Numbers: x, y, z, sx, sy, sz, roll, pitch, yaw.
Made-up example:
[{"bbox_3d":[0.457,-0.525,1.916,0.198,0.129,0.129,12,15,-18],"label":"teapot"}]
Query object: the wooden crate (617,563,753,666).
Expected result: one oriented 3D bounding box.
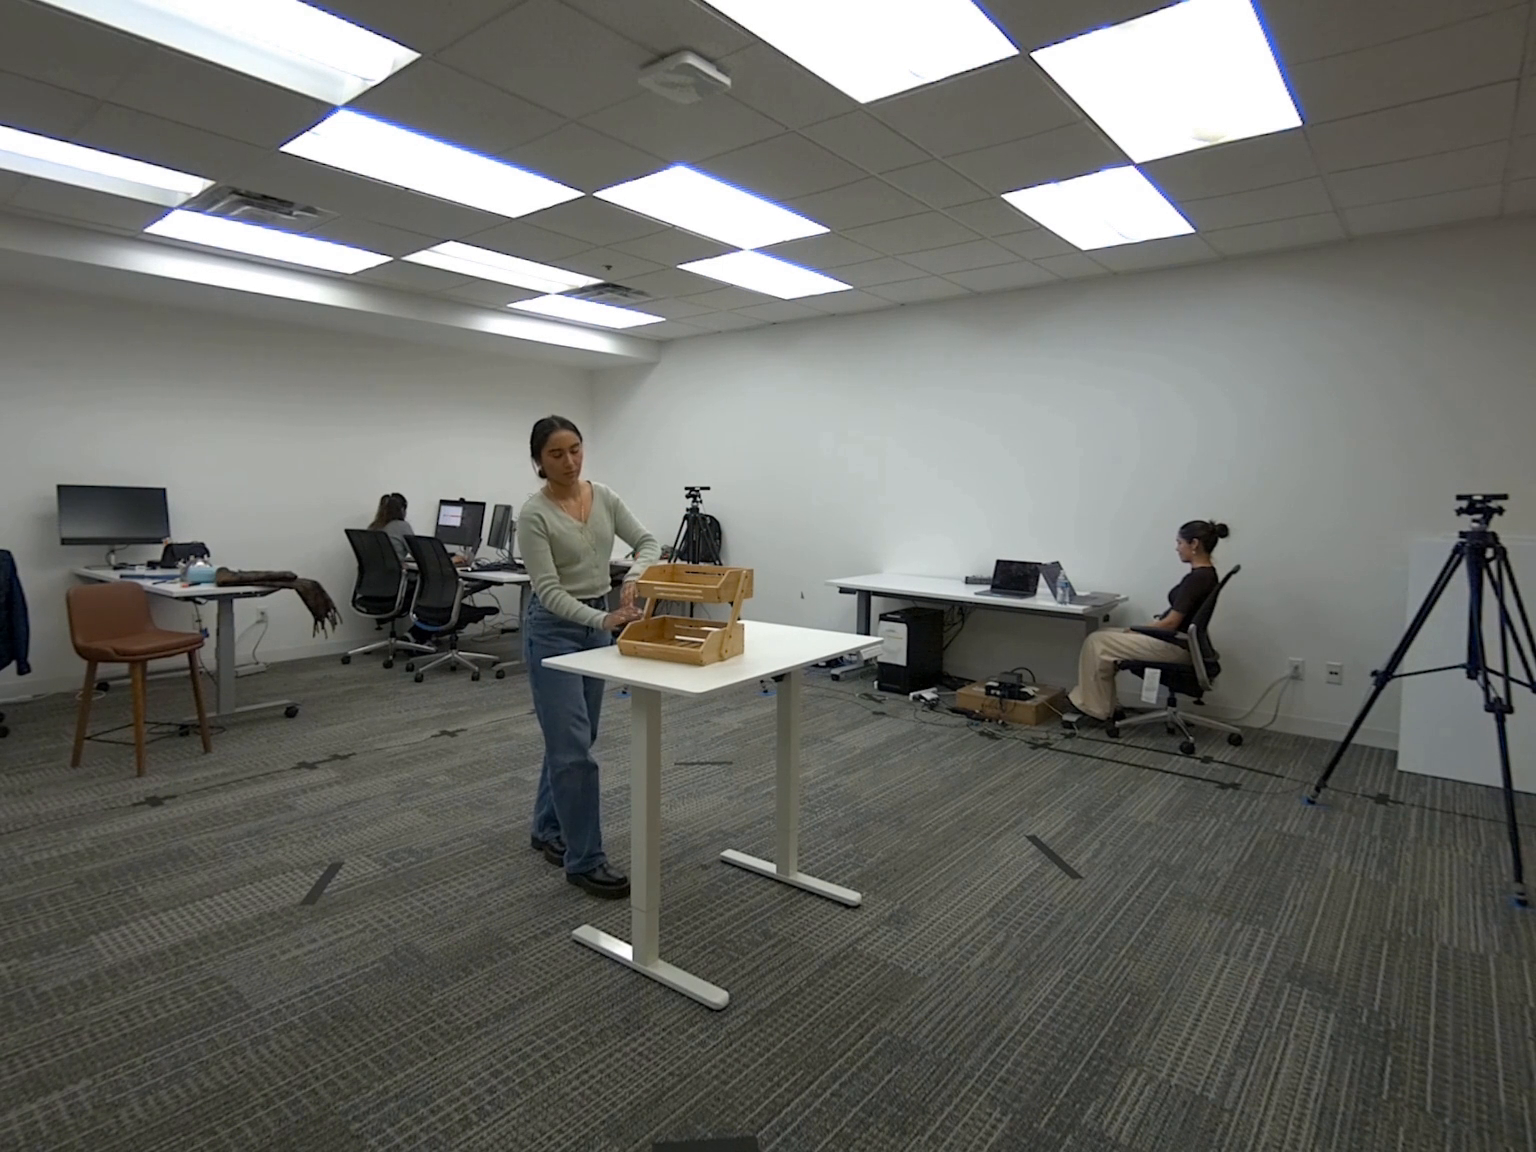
[{"bbox_3d":[-0.260,0.105,2.592,0.334,0.272,0.294,4,6,29],"label":"wooden crate"}]
